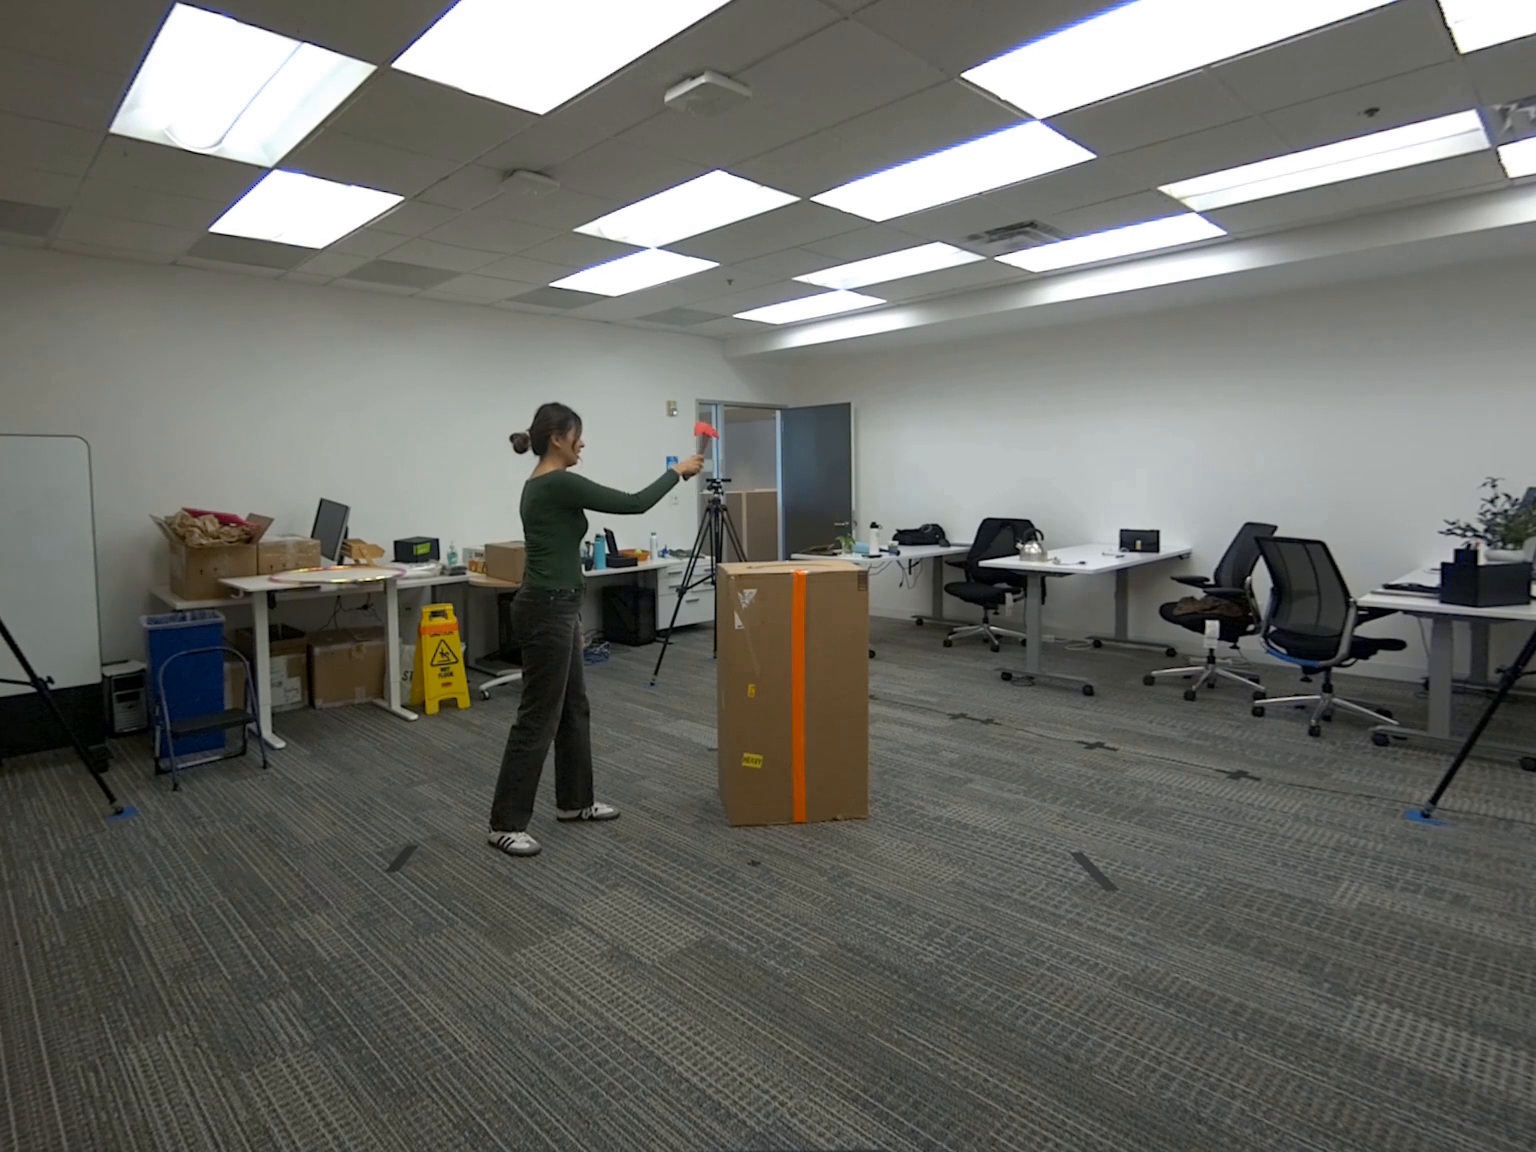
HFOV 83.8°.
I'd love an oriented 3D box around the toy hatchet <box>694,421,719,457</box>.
[{"bbox_3d":[-0.302,-0.519,3.486,0.030,0.127,0.271,-2,45,50],"label":"toy hatchet"}]
